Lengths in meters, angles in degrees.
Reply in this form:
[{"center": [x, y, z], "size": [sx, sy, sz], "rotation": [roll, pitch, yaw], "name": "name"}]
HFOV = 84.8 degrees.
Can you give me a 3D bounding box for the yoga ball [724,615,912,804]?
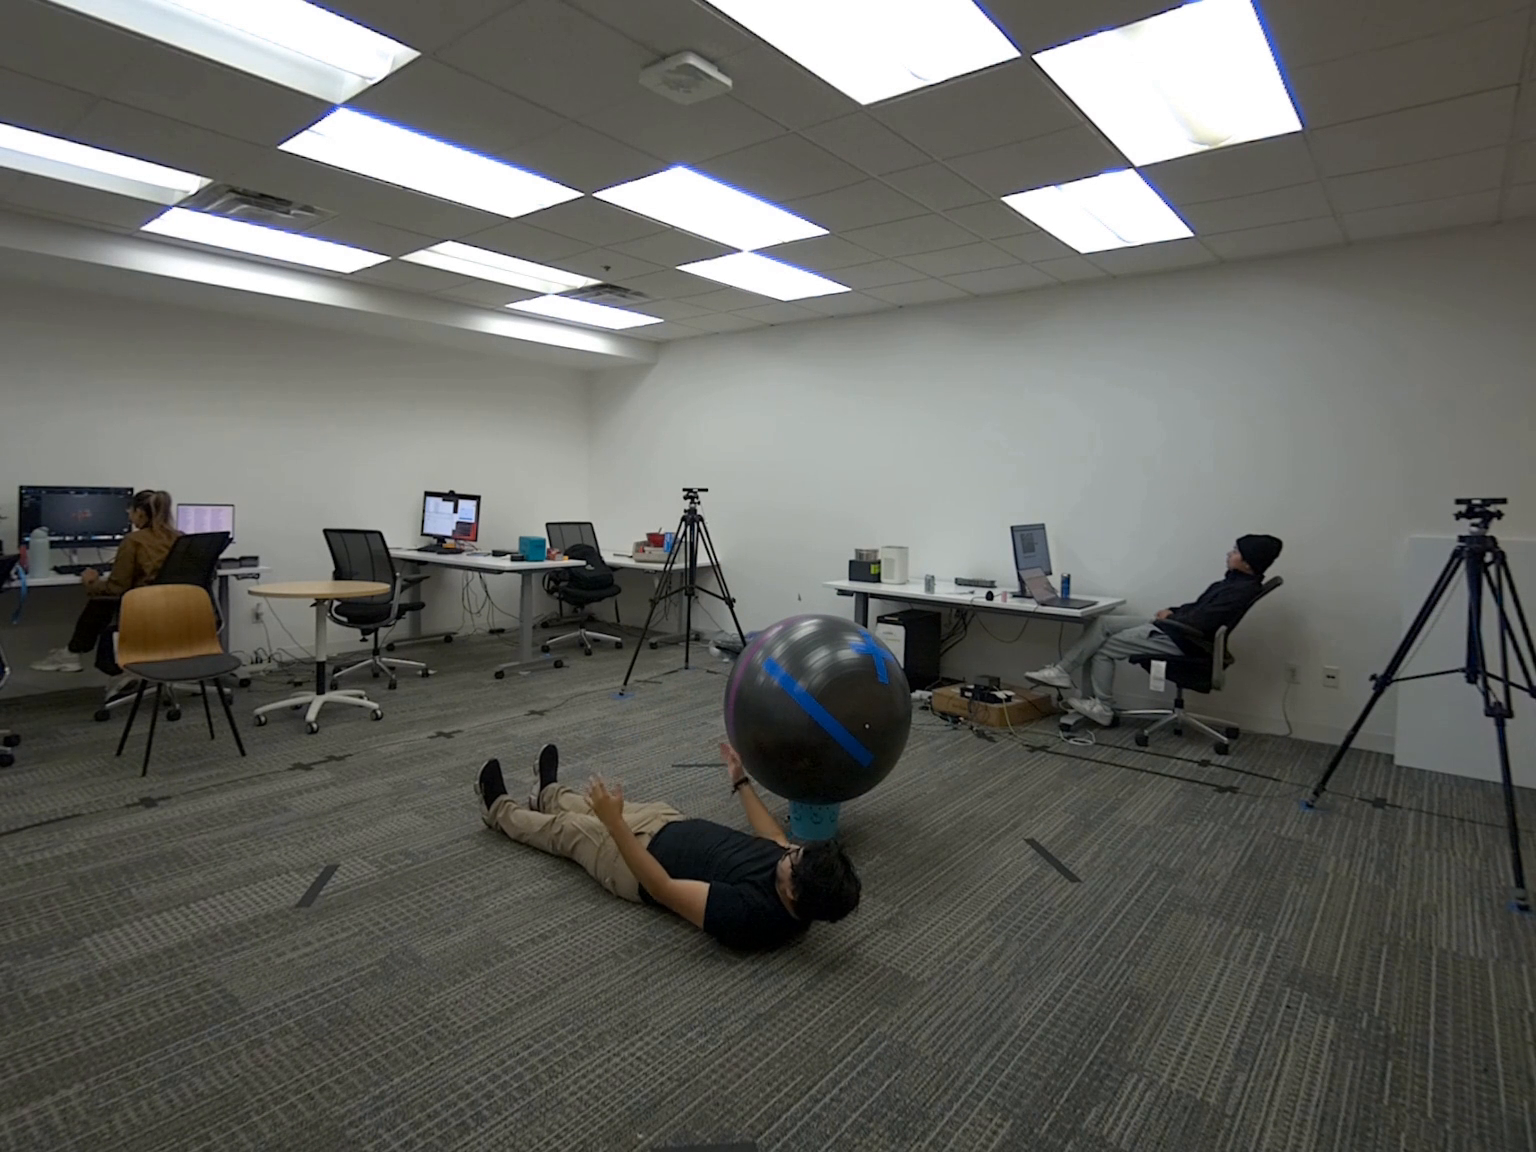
[{"center": [0.193, 0.537, 3.463], "size": [0.757, 0.756, 0.761], "rotation": [0, 4, -2], "name": "yoga ball"}]
